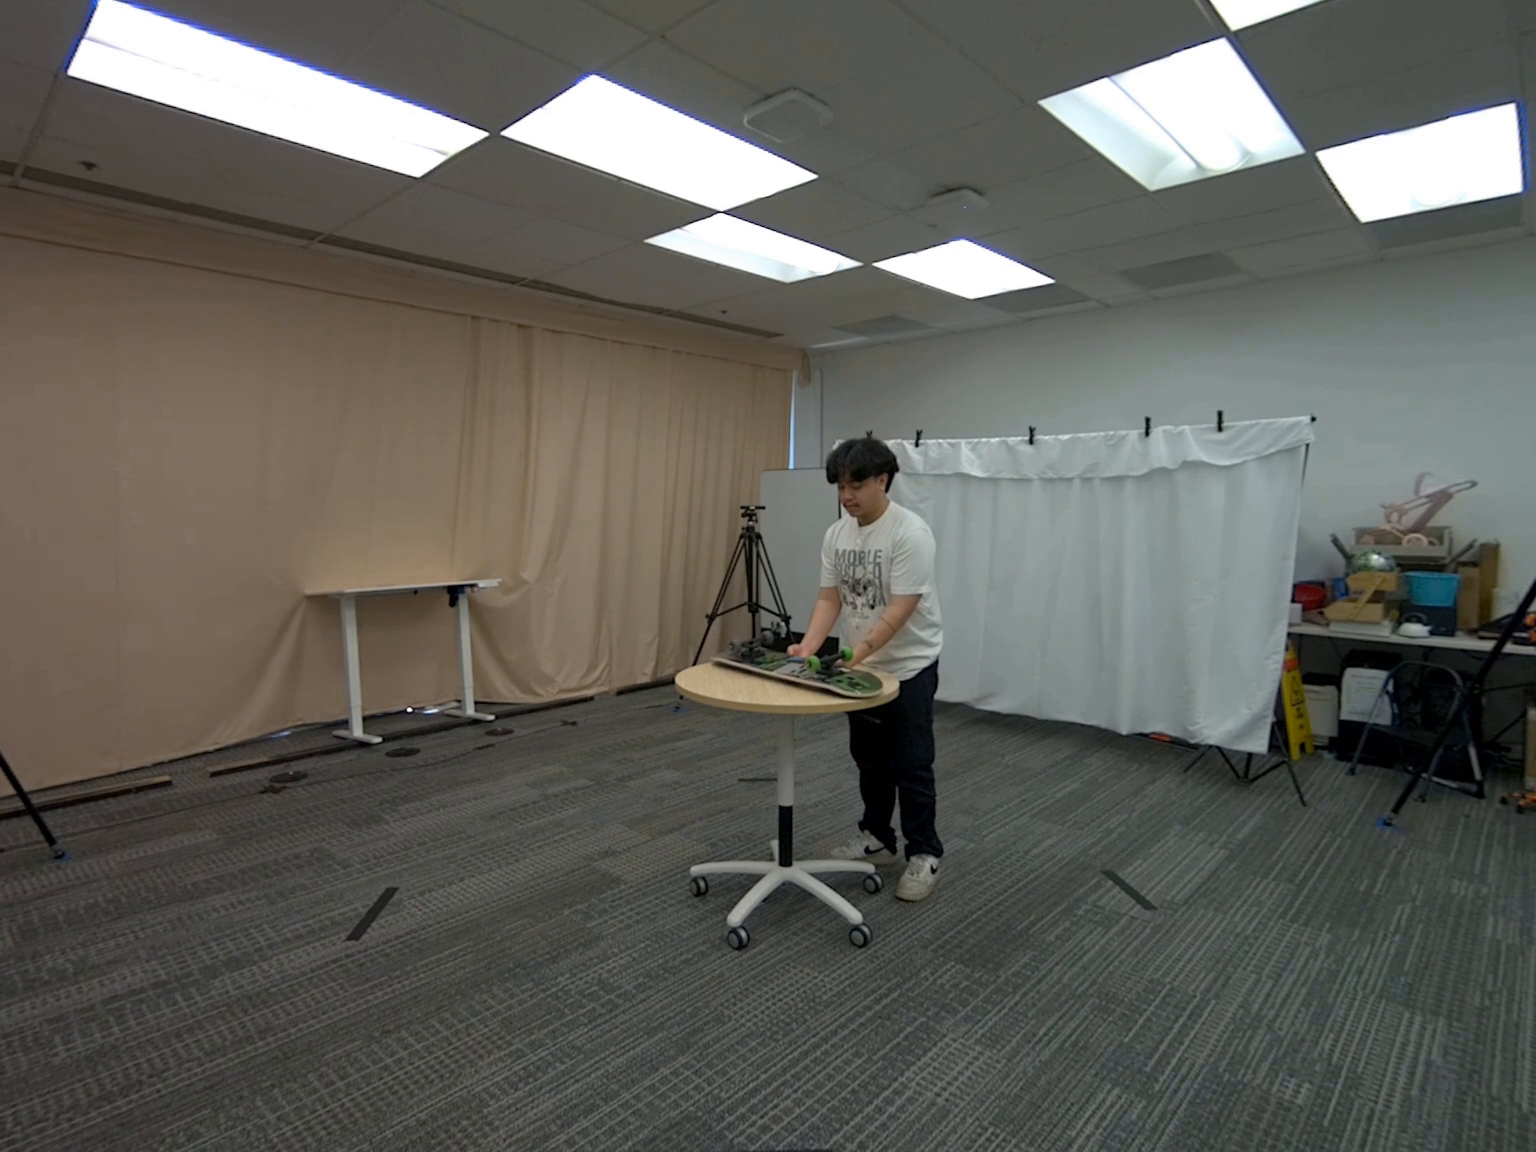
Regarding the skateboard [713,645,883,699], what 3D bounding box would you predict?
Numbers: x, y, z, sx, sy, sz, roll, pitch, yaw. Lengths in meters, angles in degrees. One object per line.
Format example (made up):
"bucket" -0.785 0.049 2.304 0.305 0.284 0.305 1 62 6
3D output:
"skateboard" 0.071 0.293 2.908 0.188 0.110 0.812 -9 10 -38
